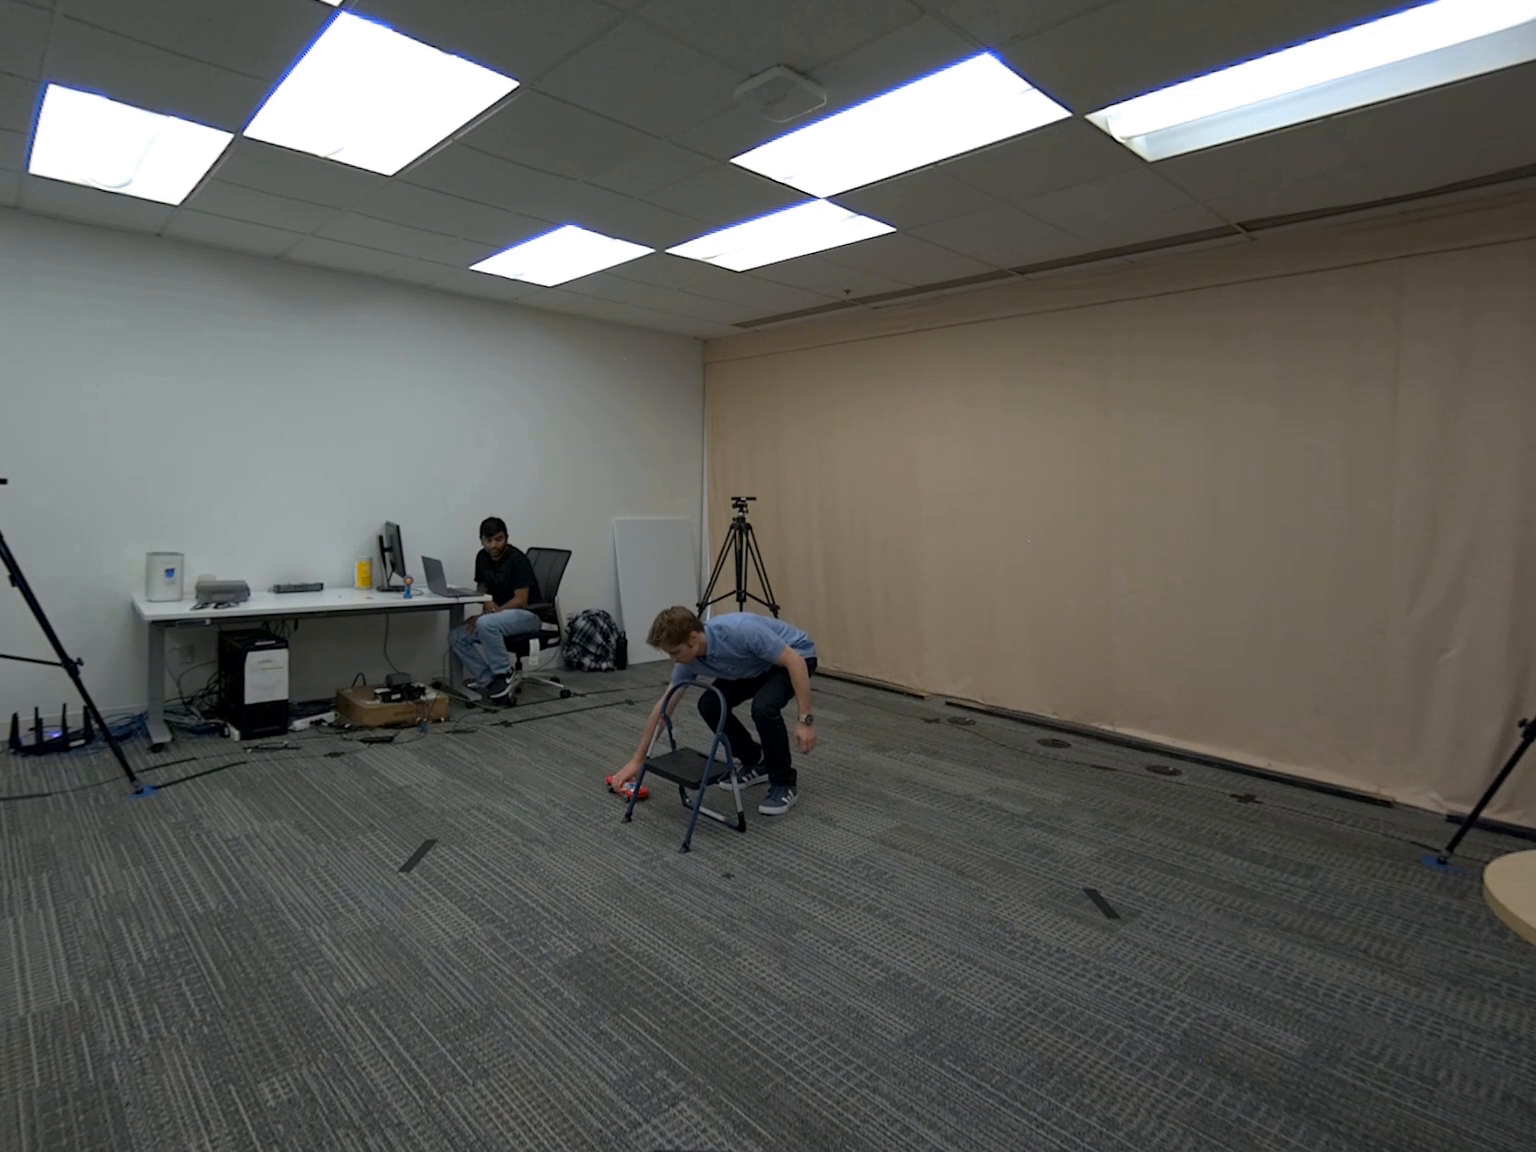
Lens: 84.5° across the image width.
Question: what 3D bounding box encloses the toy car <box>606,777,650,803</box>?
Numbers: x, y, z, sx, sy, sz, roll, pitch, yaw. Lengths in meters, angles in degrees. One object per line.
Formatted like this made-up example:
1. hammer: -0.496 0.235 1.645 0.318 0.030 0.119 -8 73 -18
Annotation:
1. toy car: -0.669 0.985 3.950 0.127 0.082 0.262 -1 16 -39
